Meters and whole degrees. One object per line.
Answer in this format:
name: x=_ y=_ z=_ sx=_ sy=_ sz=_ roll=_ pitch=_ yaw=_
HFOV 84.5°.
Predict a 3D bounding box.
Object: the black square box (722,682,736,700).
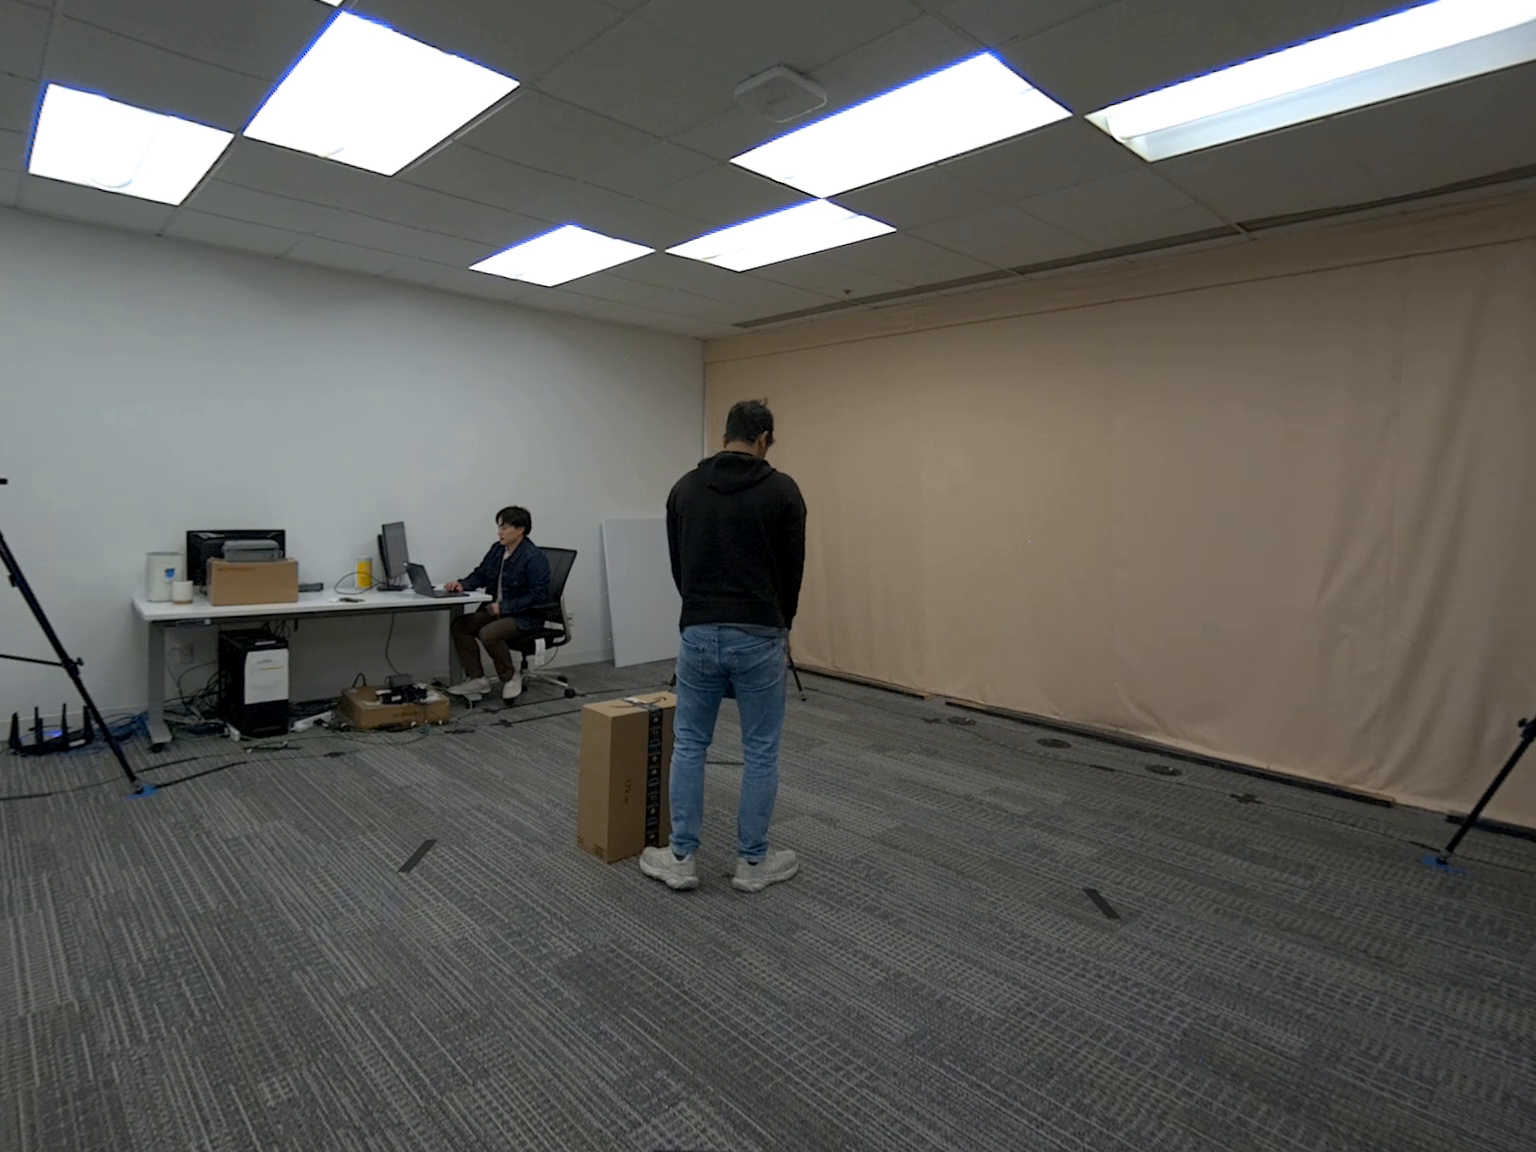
black square box: x=-0.073 y=0.405 z=3.338 sx=0.231 sy=0.156 sz=0.214 roll=2 pitch=2 yaw=16
